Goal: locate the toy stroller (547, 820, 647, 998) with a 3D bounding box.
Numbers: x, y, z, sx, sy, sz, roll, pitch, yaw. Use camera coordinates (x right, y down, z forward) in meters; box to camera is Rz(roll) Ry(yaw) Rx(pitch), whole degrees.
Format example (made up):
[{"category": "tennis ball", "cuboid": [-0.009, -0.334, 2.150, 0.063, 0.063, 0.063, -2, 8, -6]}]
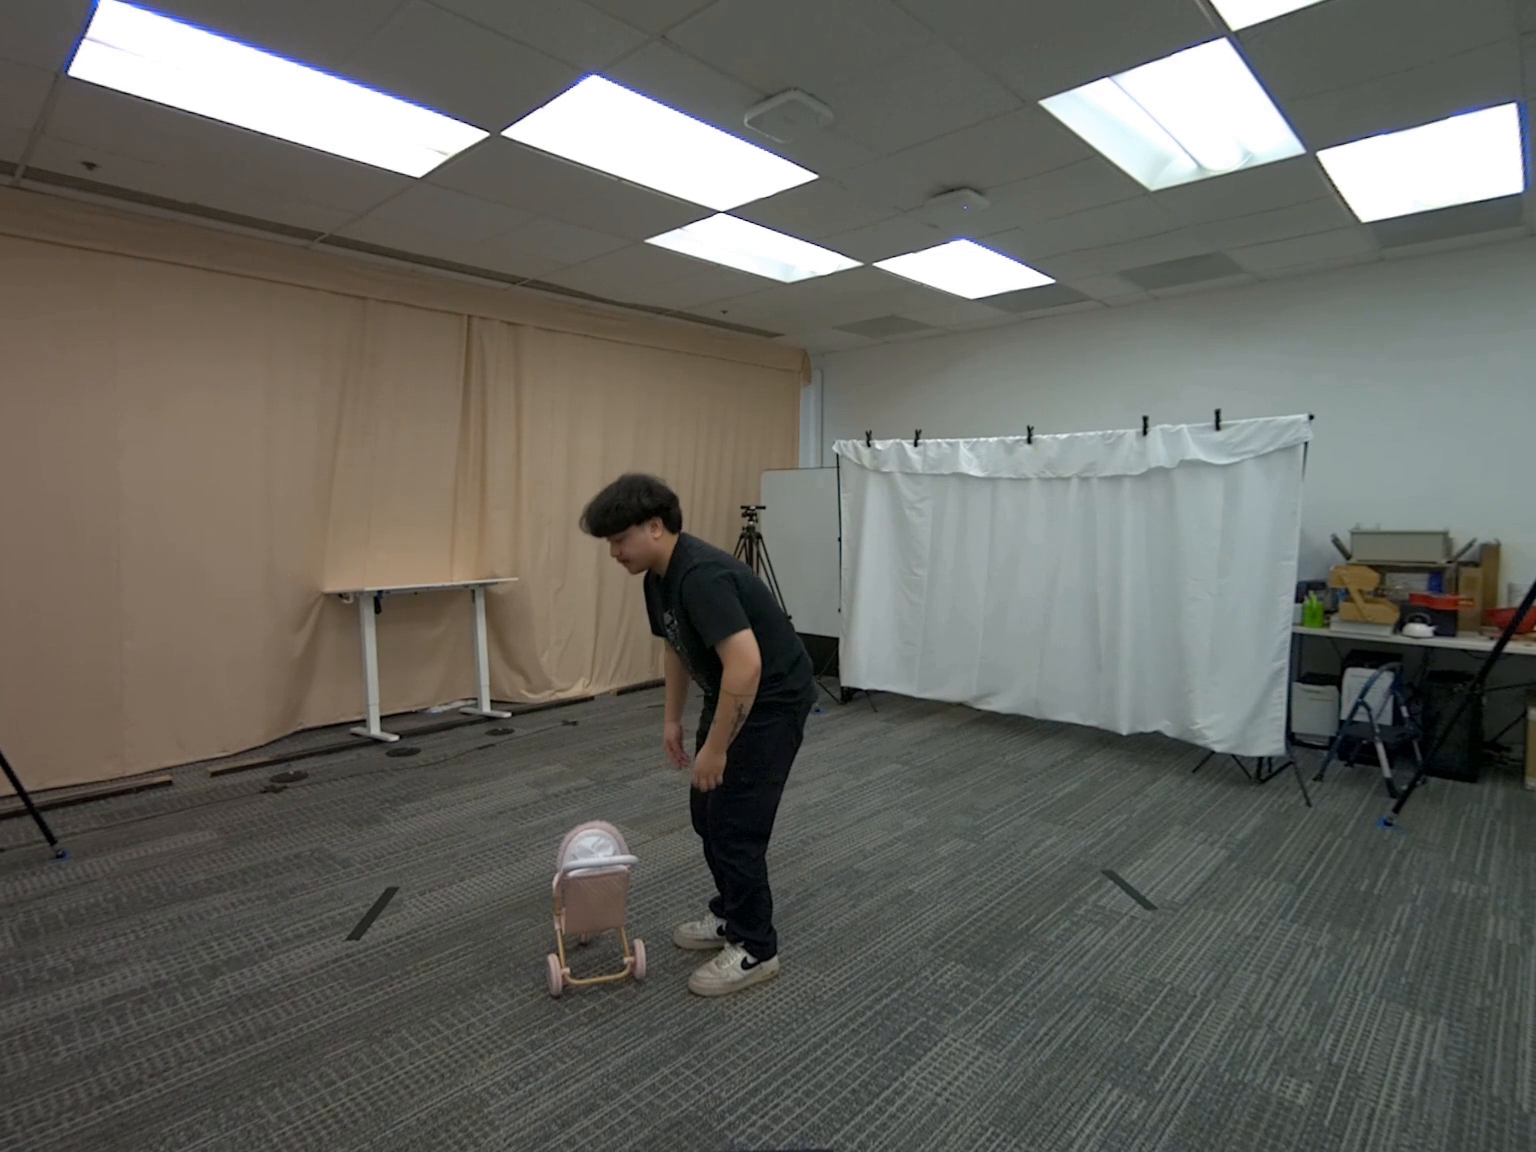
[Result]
[{"category": "toy stroller", "cuboid": [-0.518, 0.962, 2.514, 0.277, 0.530, 0.350, -1, 18, -16]}]
